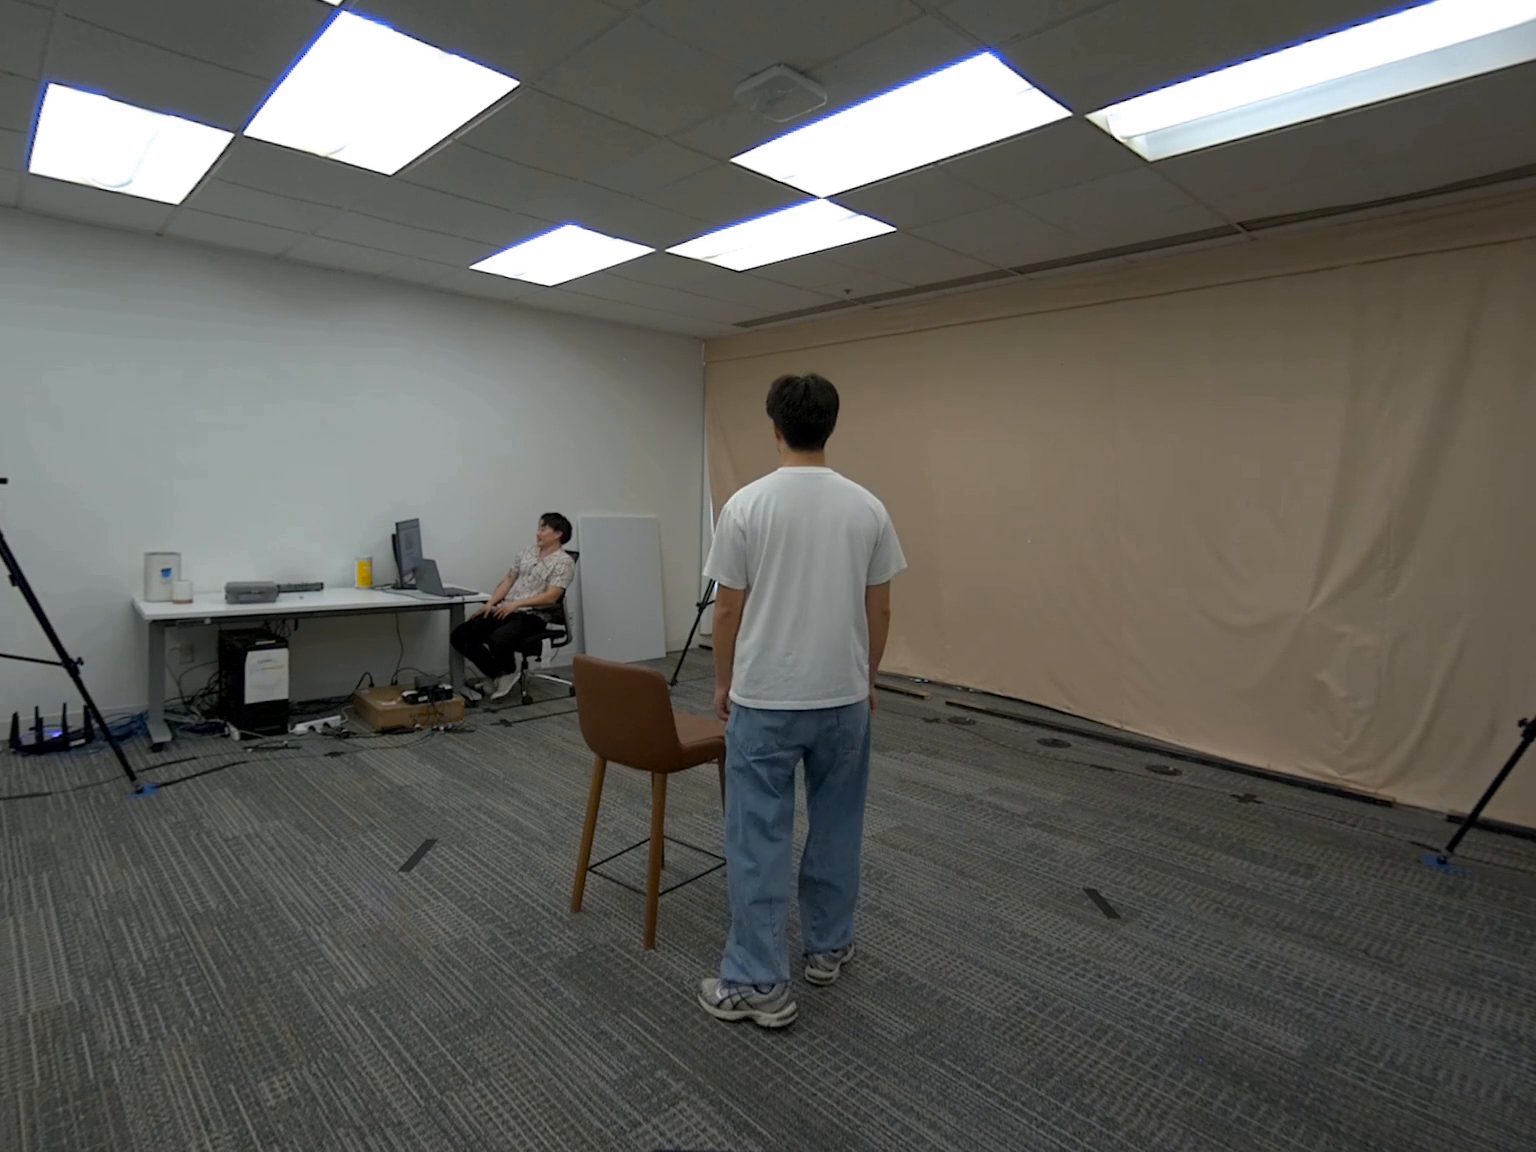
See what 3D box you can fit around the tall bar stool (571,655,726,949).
[{"bbox_3d":[-0.381,0.690,2.844,0.468,0.887,0.458,3,6,38],"label":"tall bar stool"}]
